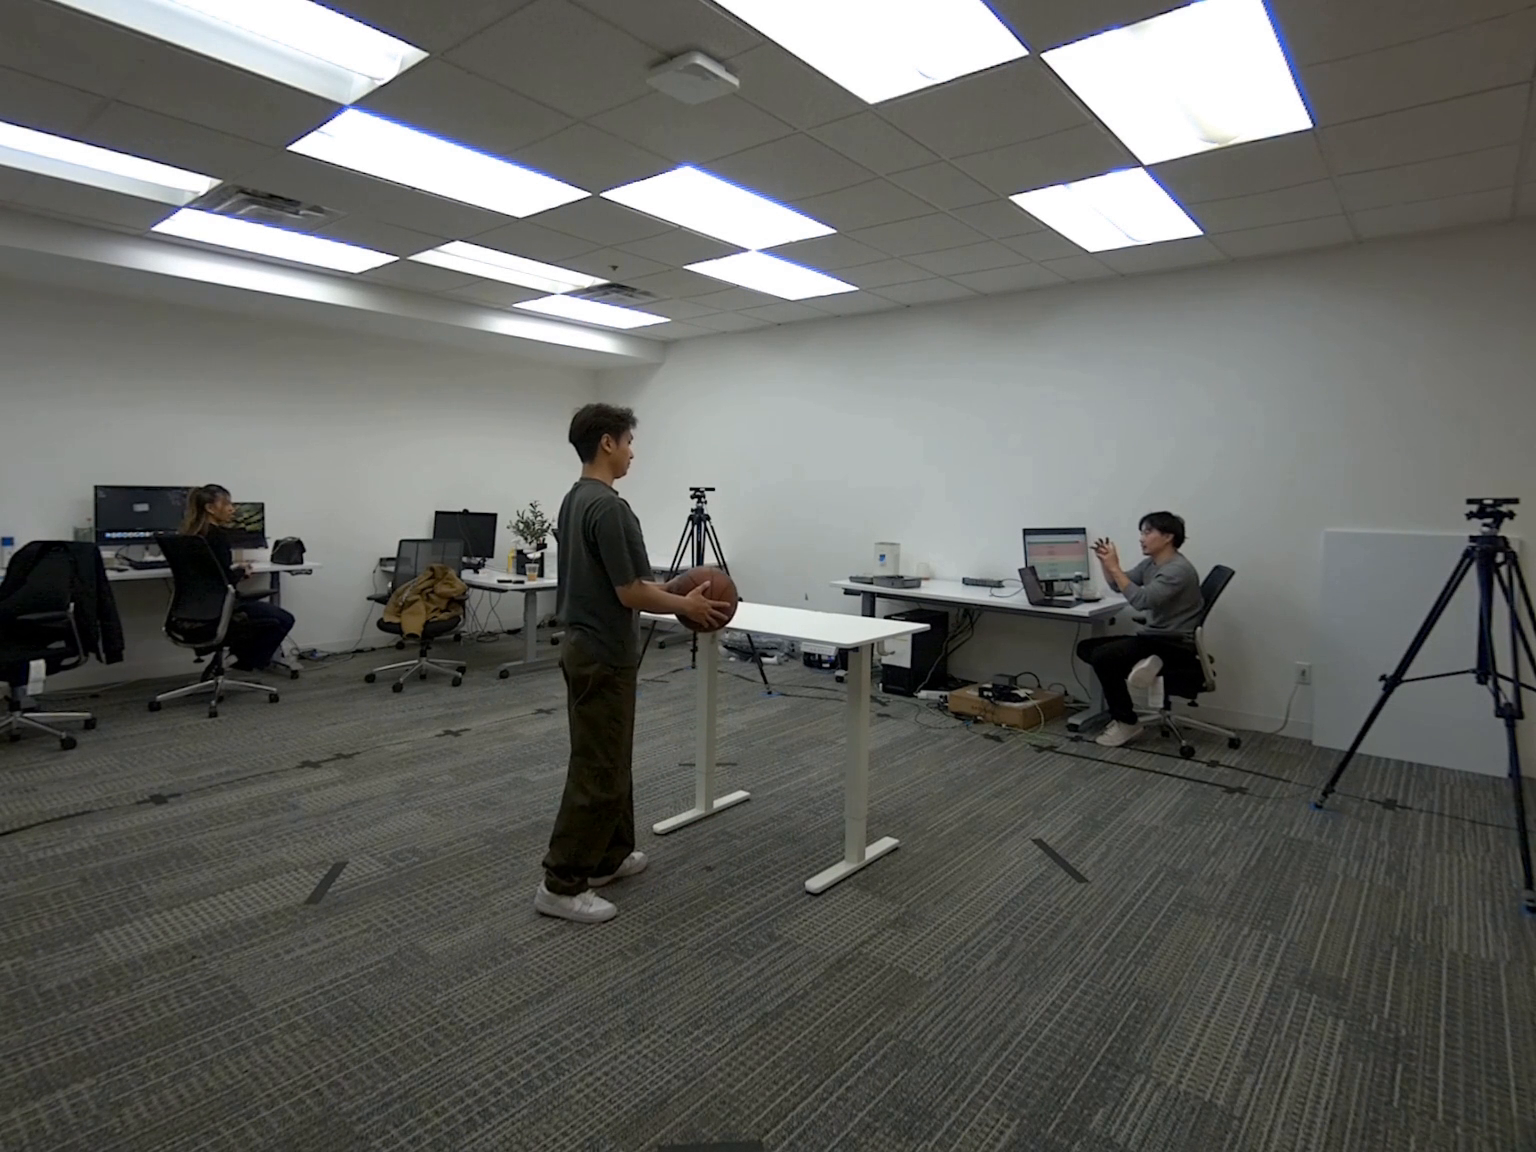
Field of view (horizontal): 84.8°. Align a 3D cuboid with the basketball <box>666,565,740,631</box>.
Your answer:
[{"bbox_3d":[-0.234,0.079,3.013,0.235,0.235,0.237,1,4,-2],"label":"basketball"}]
